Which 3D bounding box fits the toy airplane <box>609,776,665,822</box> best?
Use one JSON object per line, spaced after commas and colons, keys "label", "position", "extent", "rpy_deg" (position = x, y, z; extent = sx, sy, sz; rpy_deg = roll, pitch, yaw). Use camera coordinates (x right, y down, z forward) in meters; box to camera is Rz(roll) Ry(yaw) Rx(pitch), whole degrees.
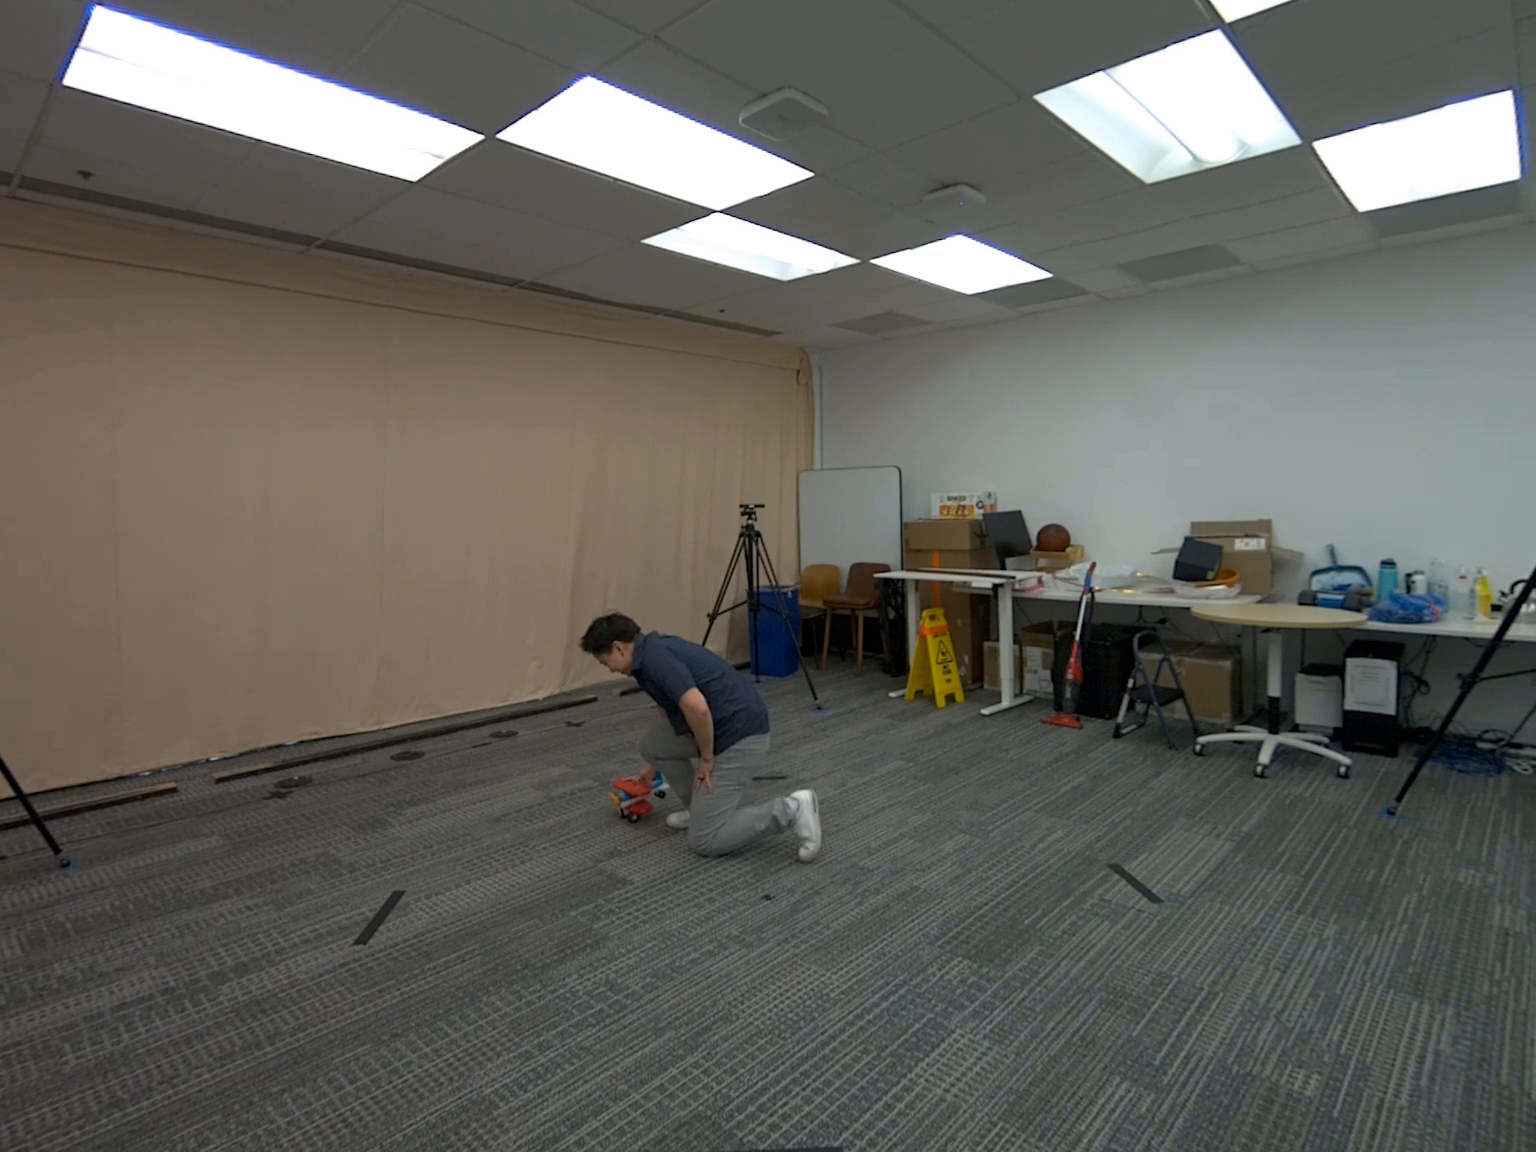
{"label": "toy airplane", "position": [-0.593, 0.985, 3.805], "extent": [0.256, 0.154, 0.258], "rpy_deg": [-10, 20, 23]}
